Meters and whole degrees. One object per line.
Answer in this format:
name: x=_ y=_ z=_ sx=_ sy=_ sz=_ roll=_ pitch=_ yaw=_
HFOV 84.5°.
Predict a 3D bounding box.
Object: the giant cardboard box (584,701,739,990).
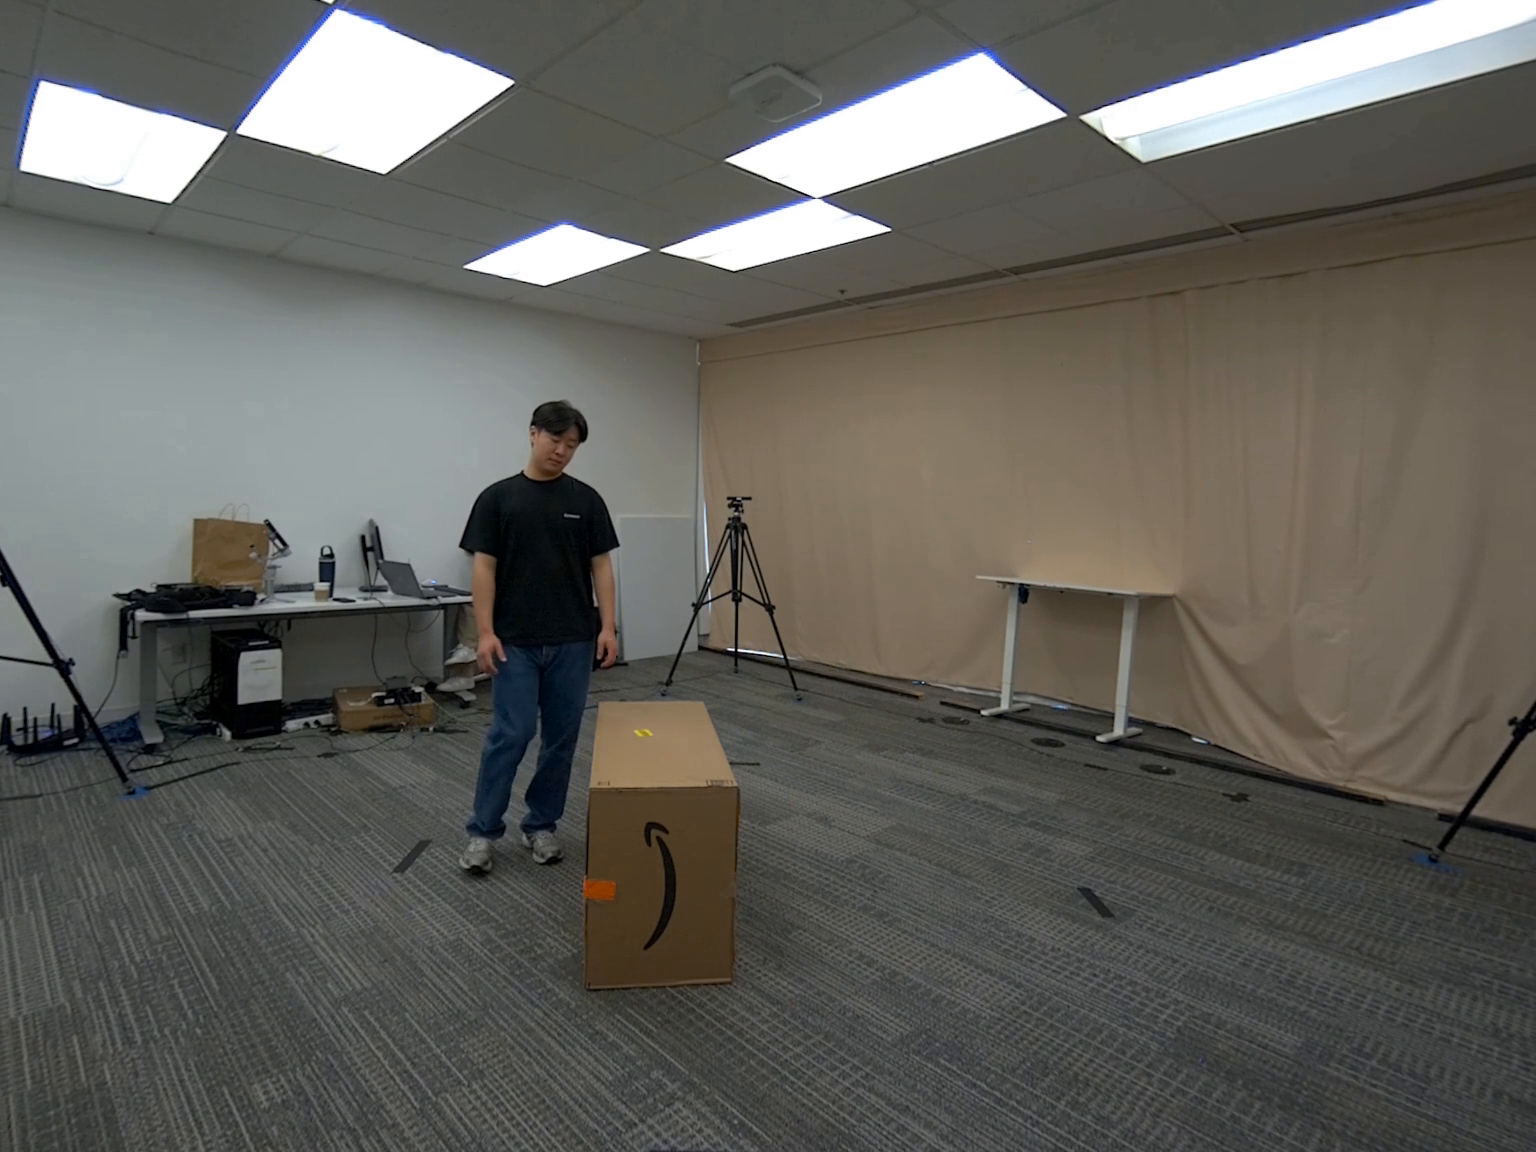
giant cardboard box: x=-0.390 y=0.835 z=2.874 sx=0.443 sy=0.582 sz=1.037 roll=0 pitch=4 yaw=-10
